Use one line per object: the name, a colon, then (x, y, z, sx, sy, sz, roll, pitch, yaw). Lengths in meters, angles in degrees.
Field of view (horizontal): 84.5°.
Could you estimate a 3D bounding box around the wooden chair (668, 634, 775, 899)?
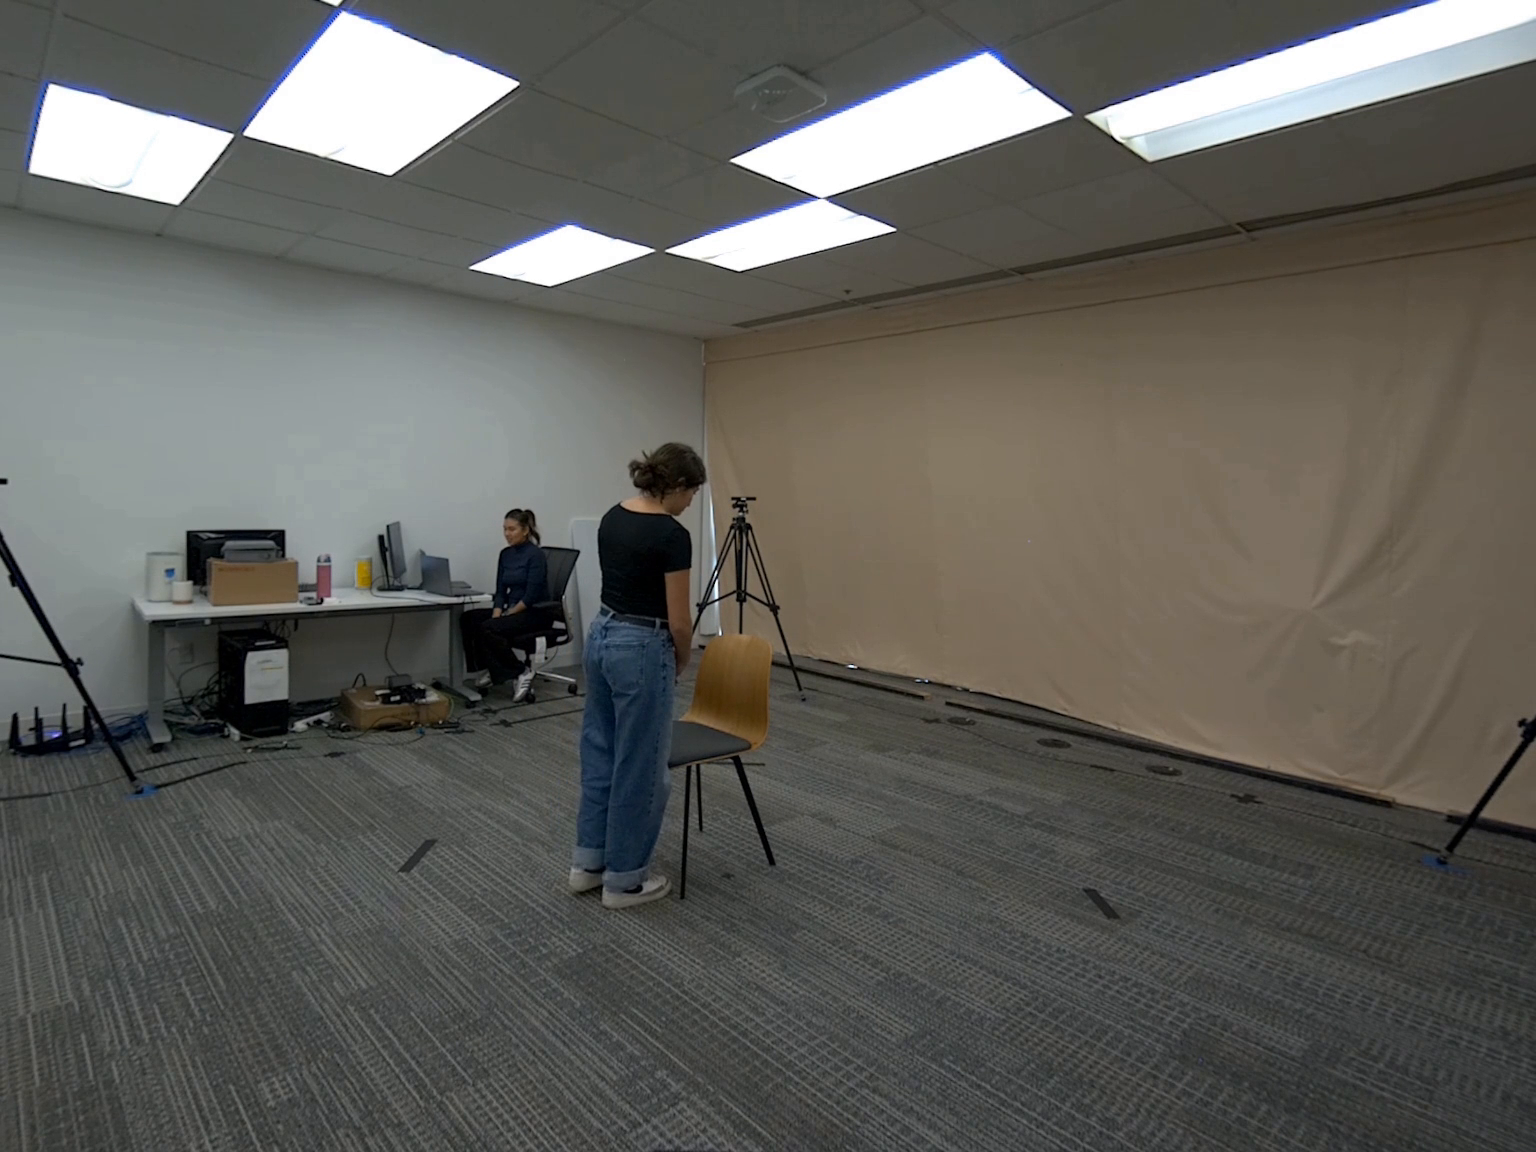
wooden chair: (-0.287, 0.671, 3.192, 0.510, 0.877, 0.490, 4, 1, -43)
